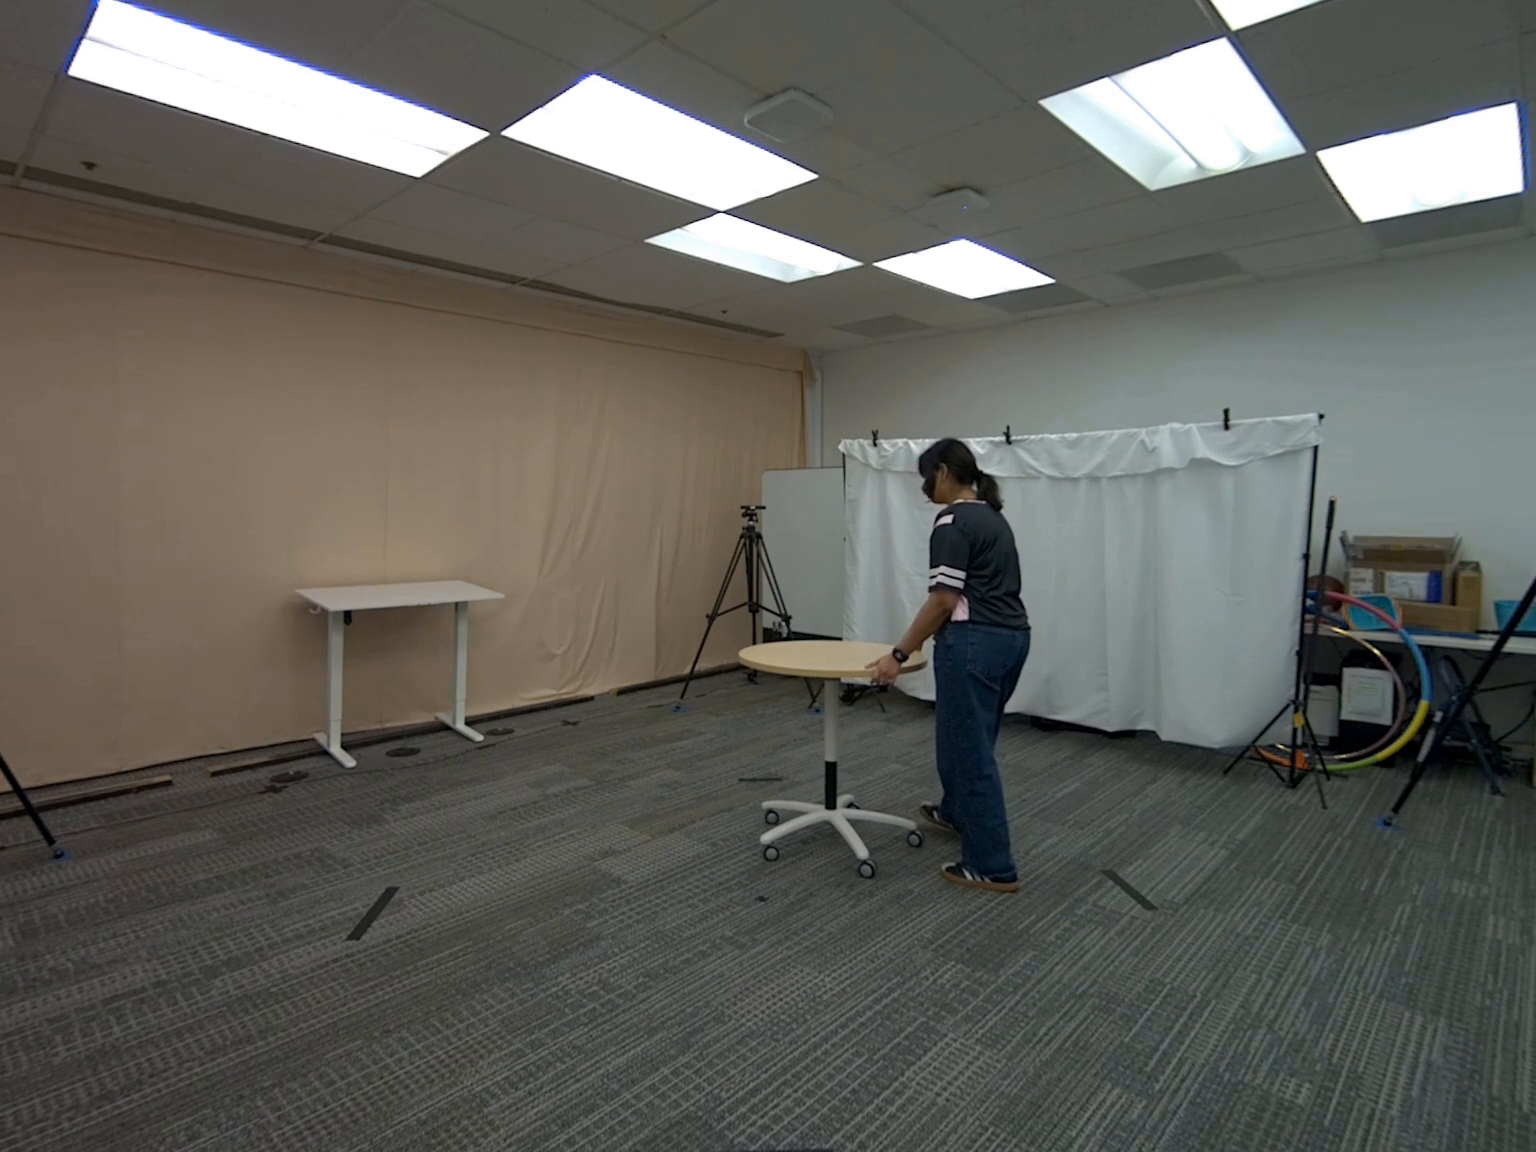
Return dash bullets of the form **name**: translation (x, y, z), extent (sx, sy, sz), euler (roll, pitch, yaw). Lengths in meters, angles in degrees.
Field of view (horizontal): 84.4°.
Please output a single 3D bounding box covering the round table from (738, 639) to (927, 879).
- **round table**: translation (0.263, 0.709, 3.460), extent (0.784, 0.785, 0.787), euler (0, 3, -2)
